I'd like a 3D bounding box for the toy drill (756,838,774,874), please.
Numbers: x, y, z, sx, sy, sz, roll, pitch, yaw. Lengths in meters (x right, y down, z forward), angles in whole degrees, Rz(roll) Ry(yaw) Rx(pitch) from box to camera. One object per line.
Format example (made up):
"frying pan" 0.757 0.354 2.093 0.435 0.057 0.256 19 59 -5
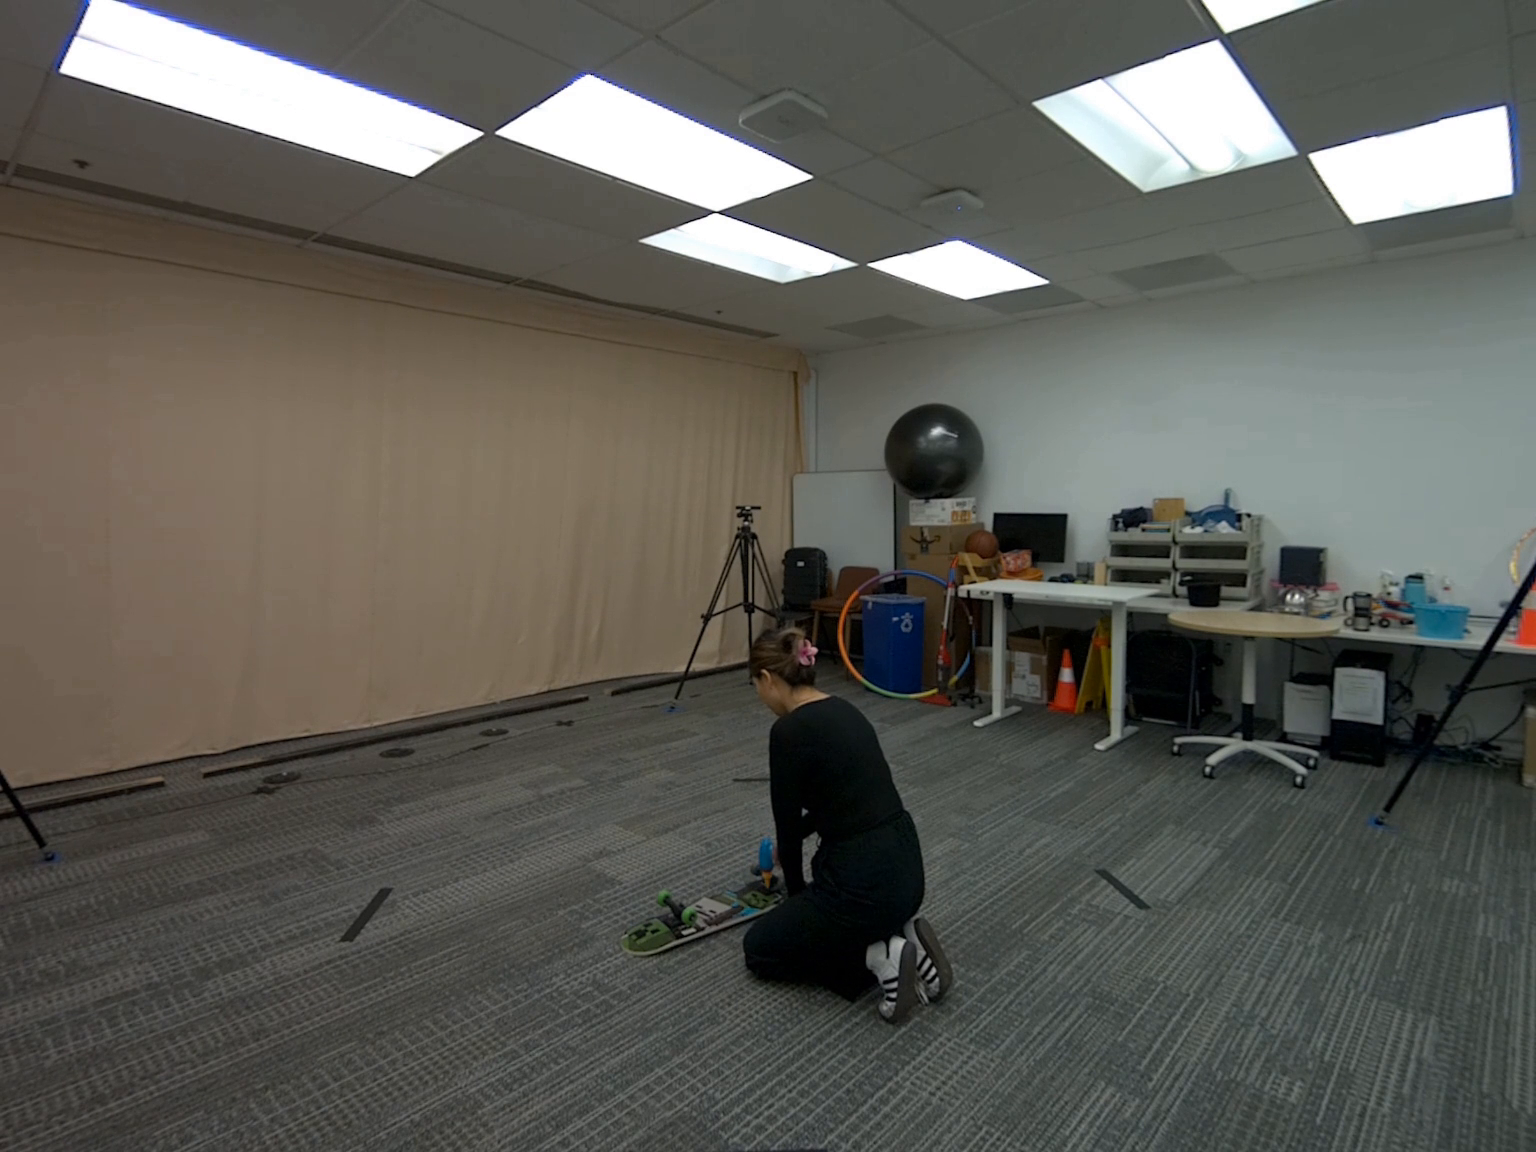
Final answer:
"toy drill" 0.035 1.006 2.913 0.150 0.170 0.059 -2 -5 37
